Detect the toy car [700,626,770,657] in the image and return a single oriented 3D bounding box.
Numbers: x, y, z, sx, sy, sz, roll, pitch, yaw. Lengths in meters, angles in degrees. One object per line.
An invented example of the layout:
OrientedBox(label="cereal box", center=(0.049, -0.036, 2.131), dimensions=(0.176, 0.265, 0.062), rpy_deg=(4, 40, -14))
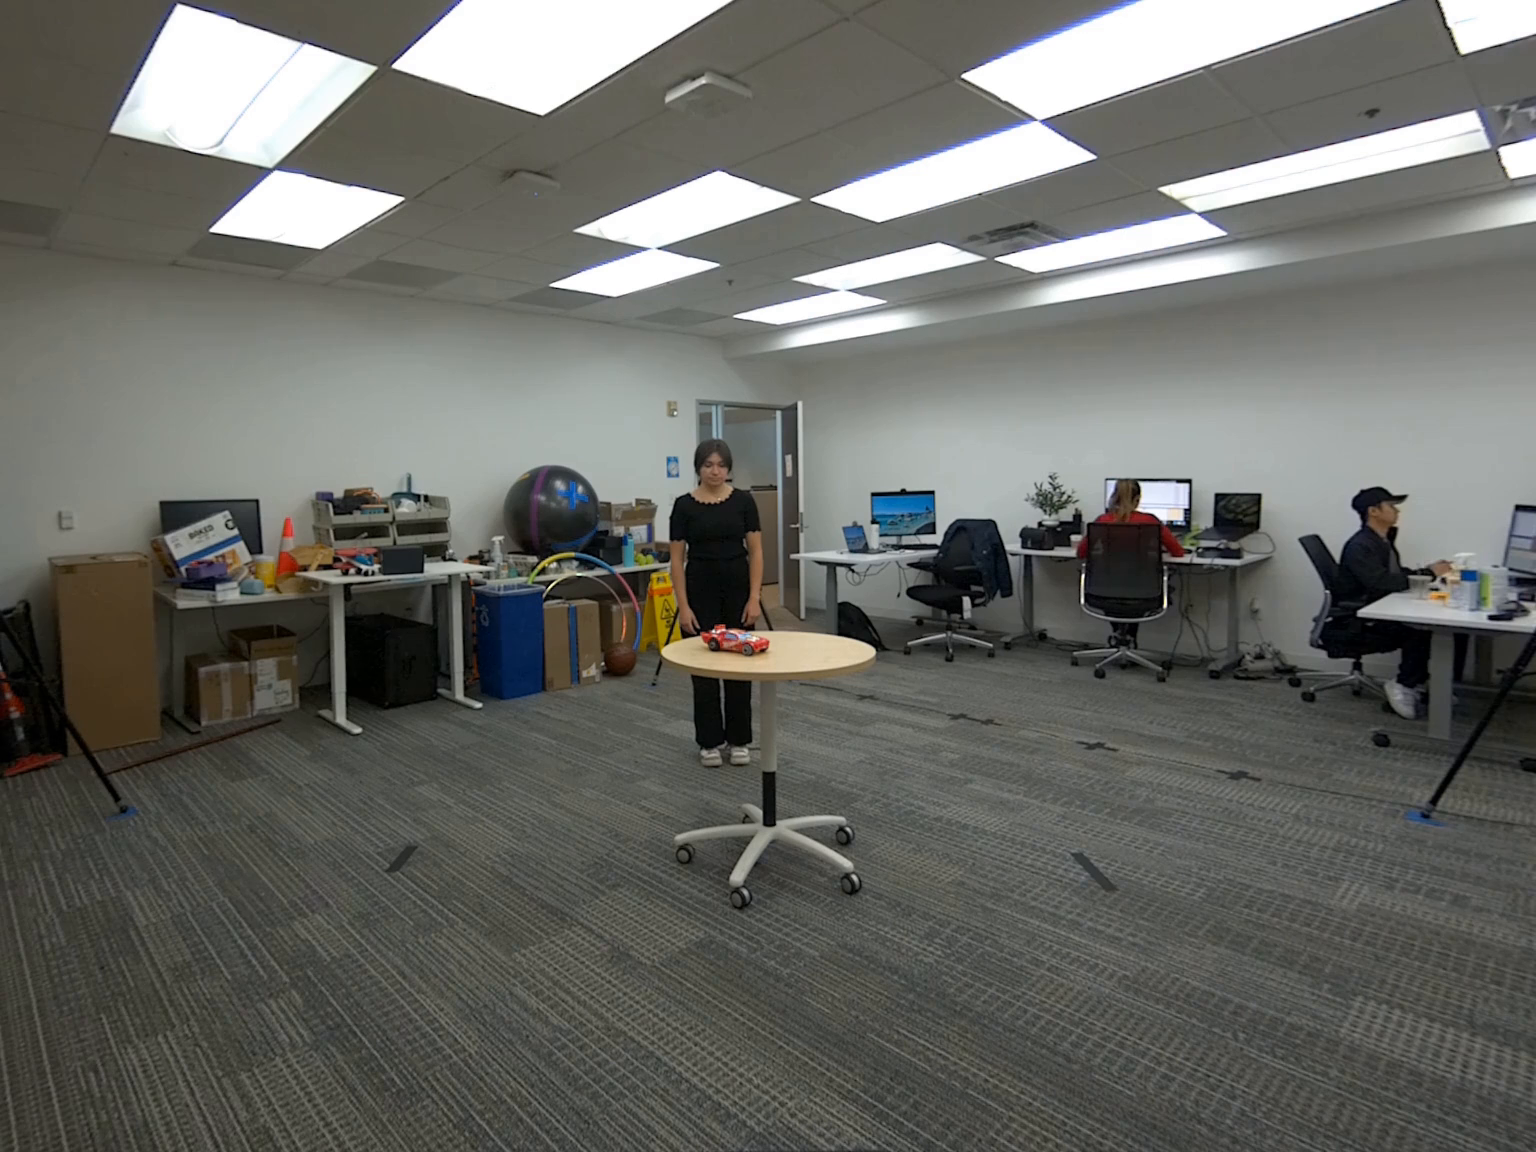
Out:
OrientedBox(label="toy car", center=(-0.125, 0.239, 3.053), dimensions=(0.263, 0.082, 0.127), rpy_deg=(16, 12, 34))
